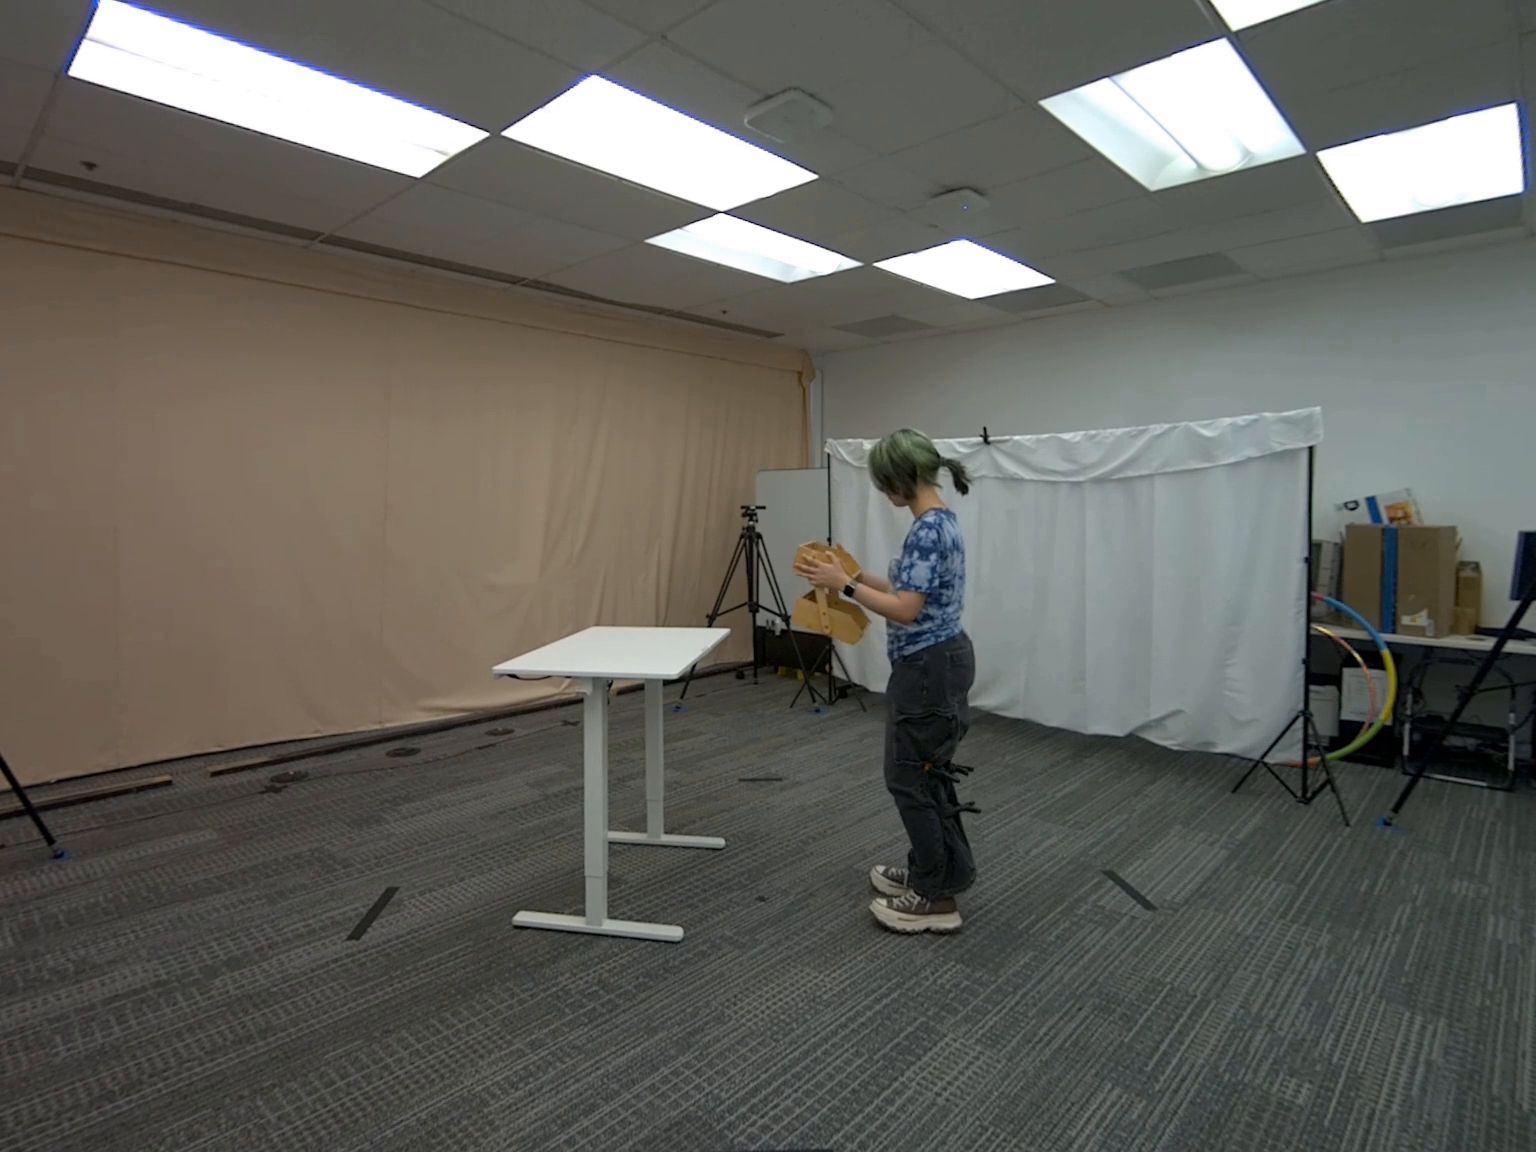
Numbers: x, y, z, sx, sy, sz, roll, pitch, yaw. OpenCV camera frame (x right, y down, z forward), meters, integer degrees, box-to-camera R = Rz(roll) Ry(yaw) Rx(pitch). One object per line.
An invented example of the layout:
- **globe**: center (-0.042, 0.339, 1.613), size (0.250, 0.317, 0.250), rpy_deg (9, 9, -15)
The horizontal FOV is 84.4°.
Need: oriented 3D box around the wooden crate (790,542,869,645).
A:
- **wooden crate**: center (0.249, 0.057, 2.967), size (0.307, 0.272, 0.320), rpy_deg (20, 9, 12)
